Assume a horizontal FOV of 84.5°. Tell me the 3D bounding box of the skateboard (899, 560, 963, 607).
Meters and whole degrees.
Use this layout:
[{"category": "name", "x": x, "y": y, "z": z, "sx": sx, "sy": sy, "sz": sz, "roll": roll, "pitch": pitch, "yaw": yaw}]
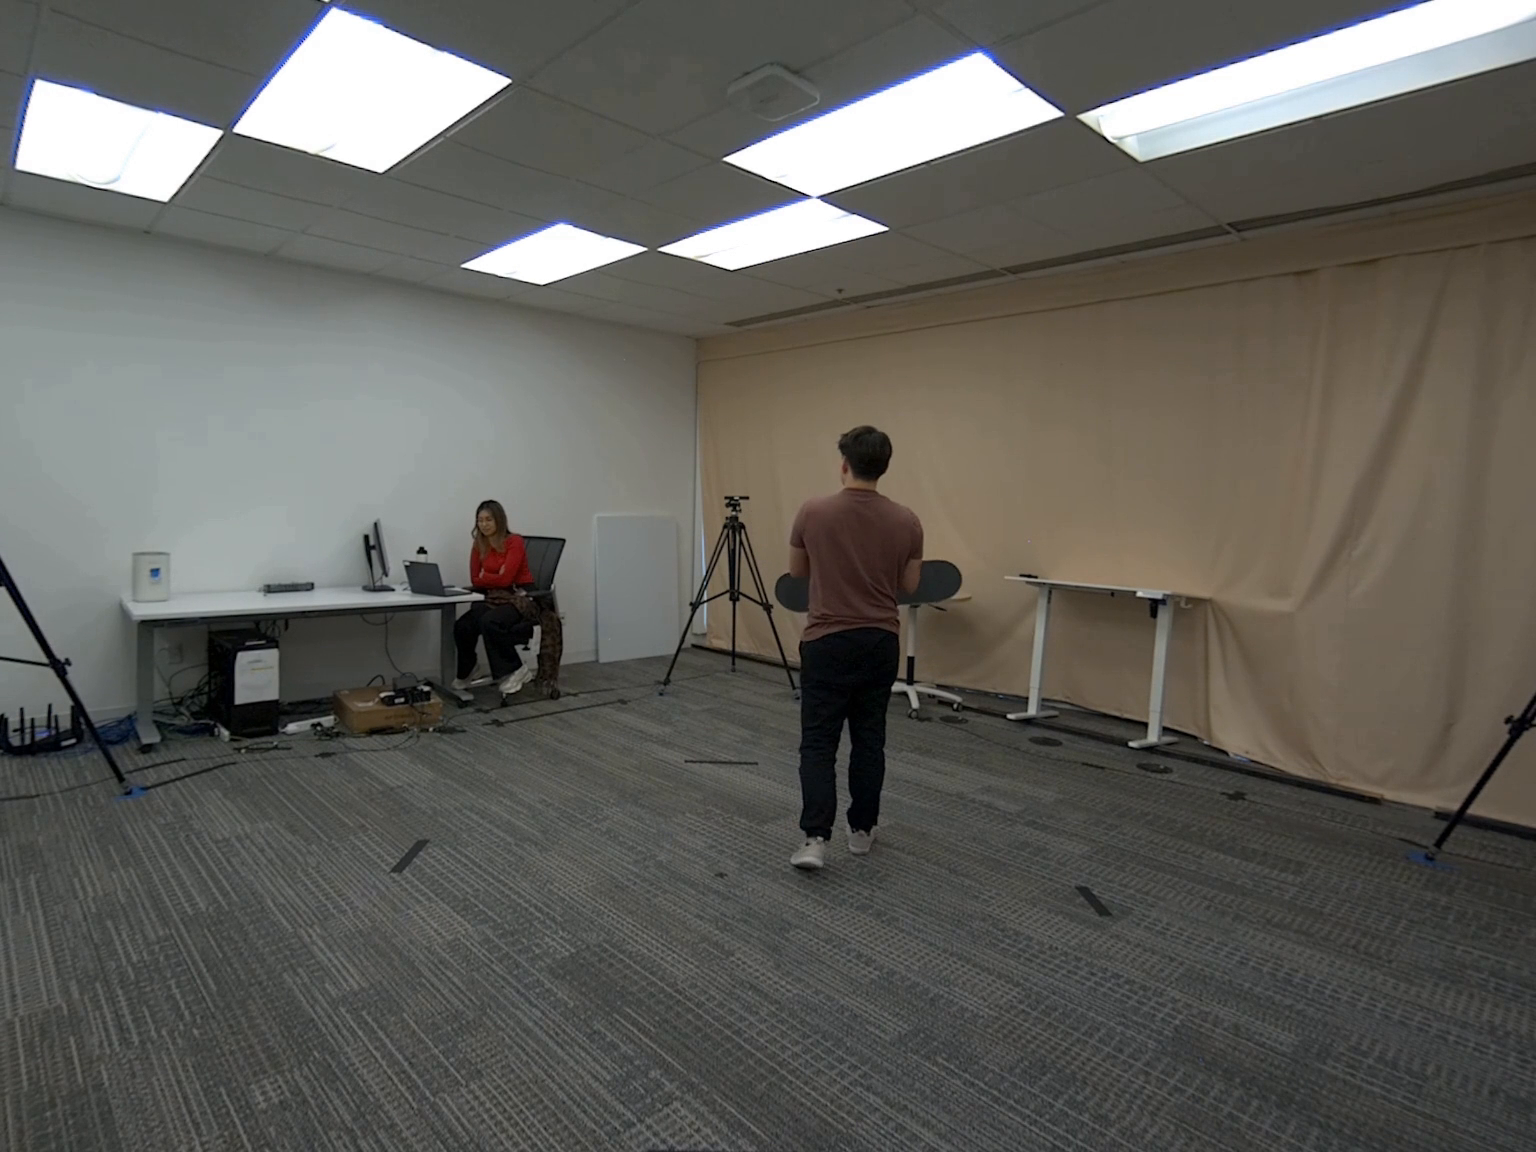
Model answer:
[{"category": "skateboard", "x": 0.426, "y": 0.058, "z": 3.593, "sx": 0.787, "sy": 0.196, "sz": 0.108, "roll": -4, "pitch": -19, "yaw": 3}]
